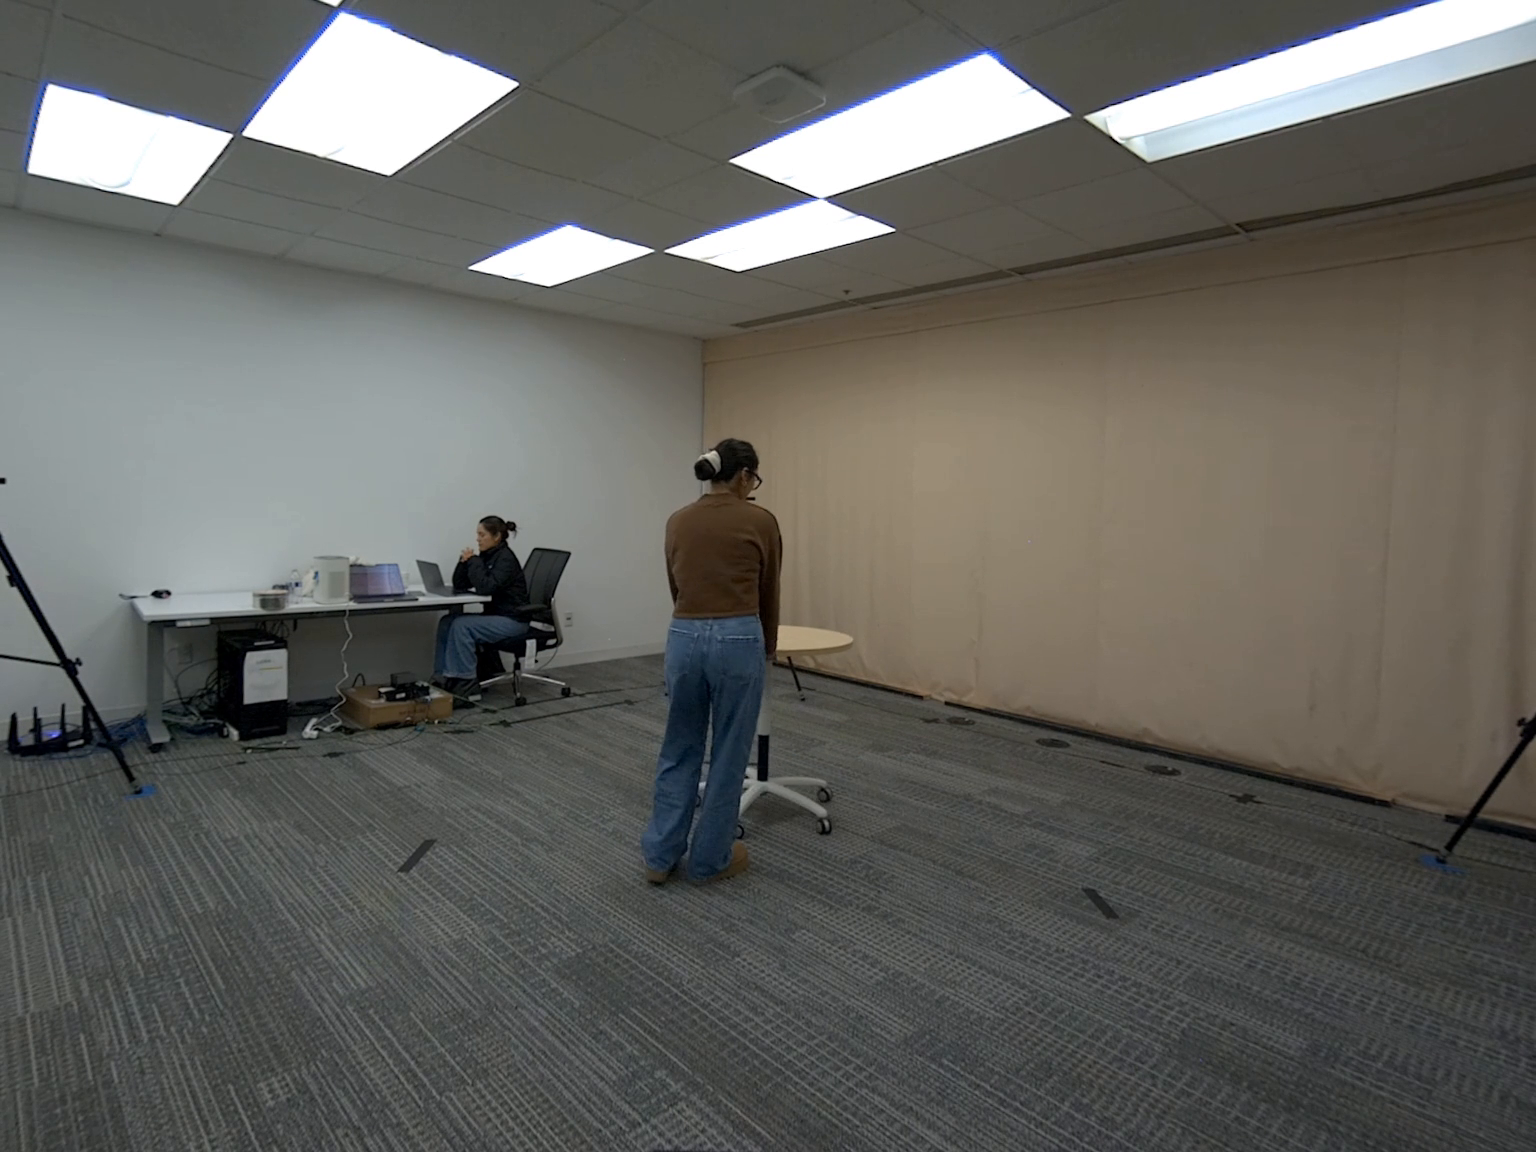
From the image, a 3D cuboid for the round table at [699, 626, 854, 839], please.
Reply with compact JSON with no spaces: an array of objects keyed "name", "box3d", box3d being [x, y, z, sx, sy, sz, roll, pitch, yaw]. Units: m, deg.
[{"name":"round table","box3d":[-0.011,0.661,3.724,0.784,0.785,0.787,1,3,-1]}]
